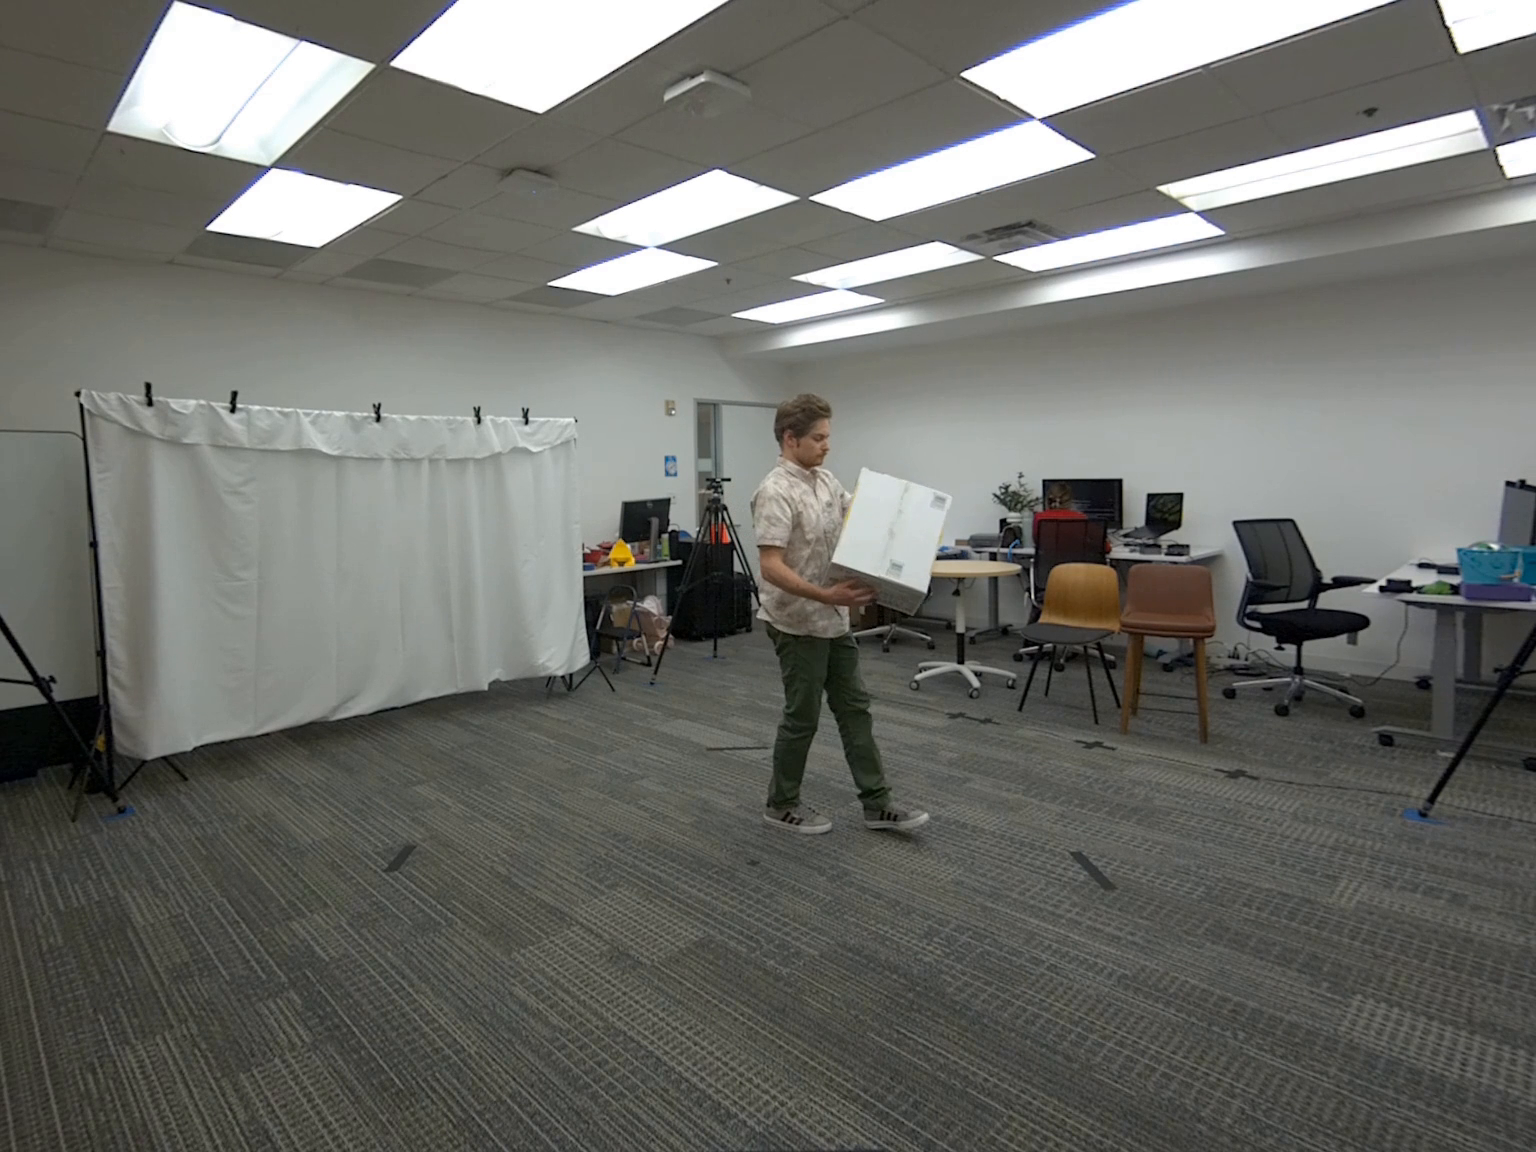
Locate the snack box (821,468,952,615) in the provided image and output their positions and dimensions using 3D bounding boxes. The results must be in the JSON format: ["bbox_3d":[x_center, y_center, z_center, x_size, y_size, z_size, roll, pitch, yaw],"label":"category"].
[{"bbox_3d":[0.423,-0.125,3.038,0.343,0.410,0.202,18,-25,5],"label":"snack box"}]
